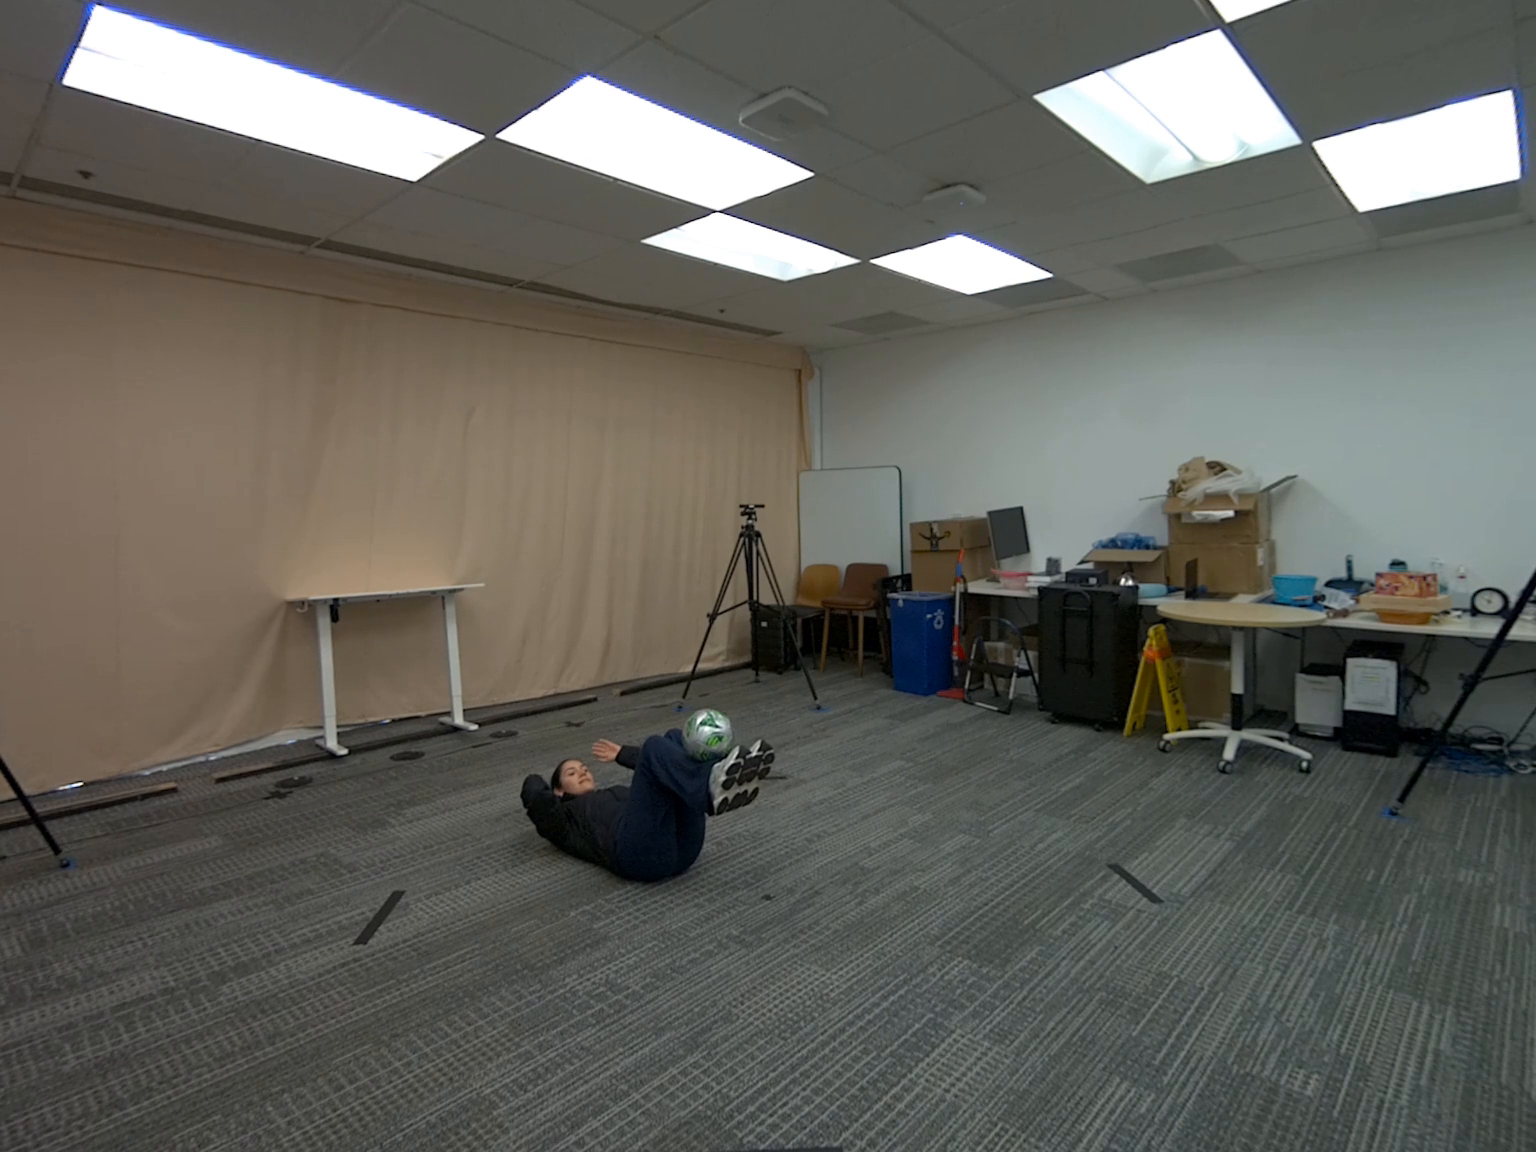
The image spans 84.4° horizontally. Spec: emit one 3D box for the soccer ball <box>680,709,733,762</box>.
[{"bbox_3d":[-0.206,0.563,2.944,0.187,0.187,0.188,2,5,-2],"label":"soccer ball"}]
